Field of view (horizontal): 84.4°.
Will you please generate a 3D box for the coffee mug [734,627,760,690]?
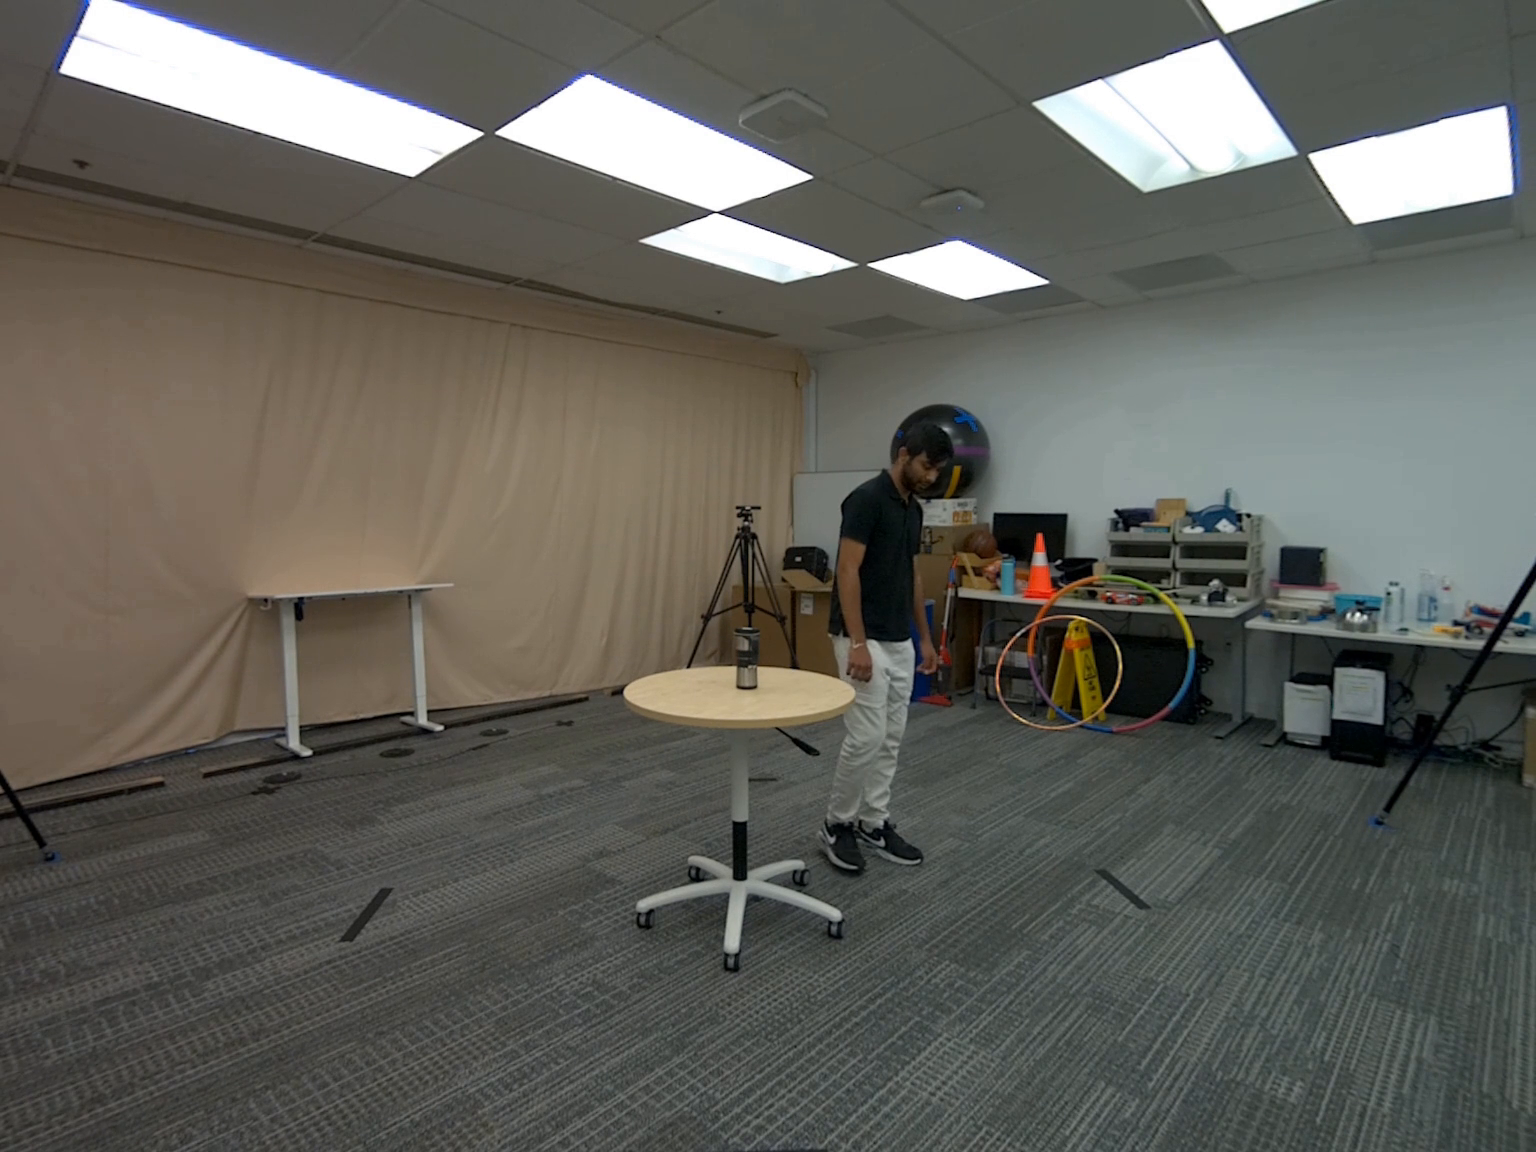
[{"bbox_3d":[-0.075,0.278,2.798,0.090,0.203,0.119,4,2,19],"label":"coffee mug"}]
